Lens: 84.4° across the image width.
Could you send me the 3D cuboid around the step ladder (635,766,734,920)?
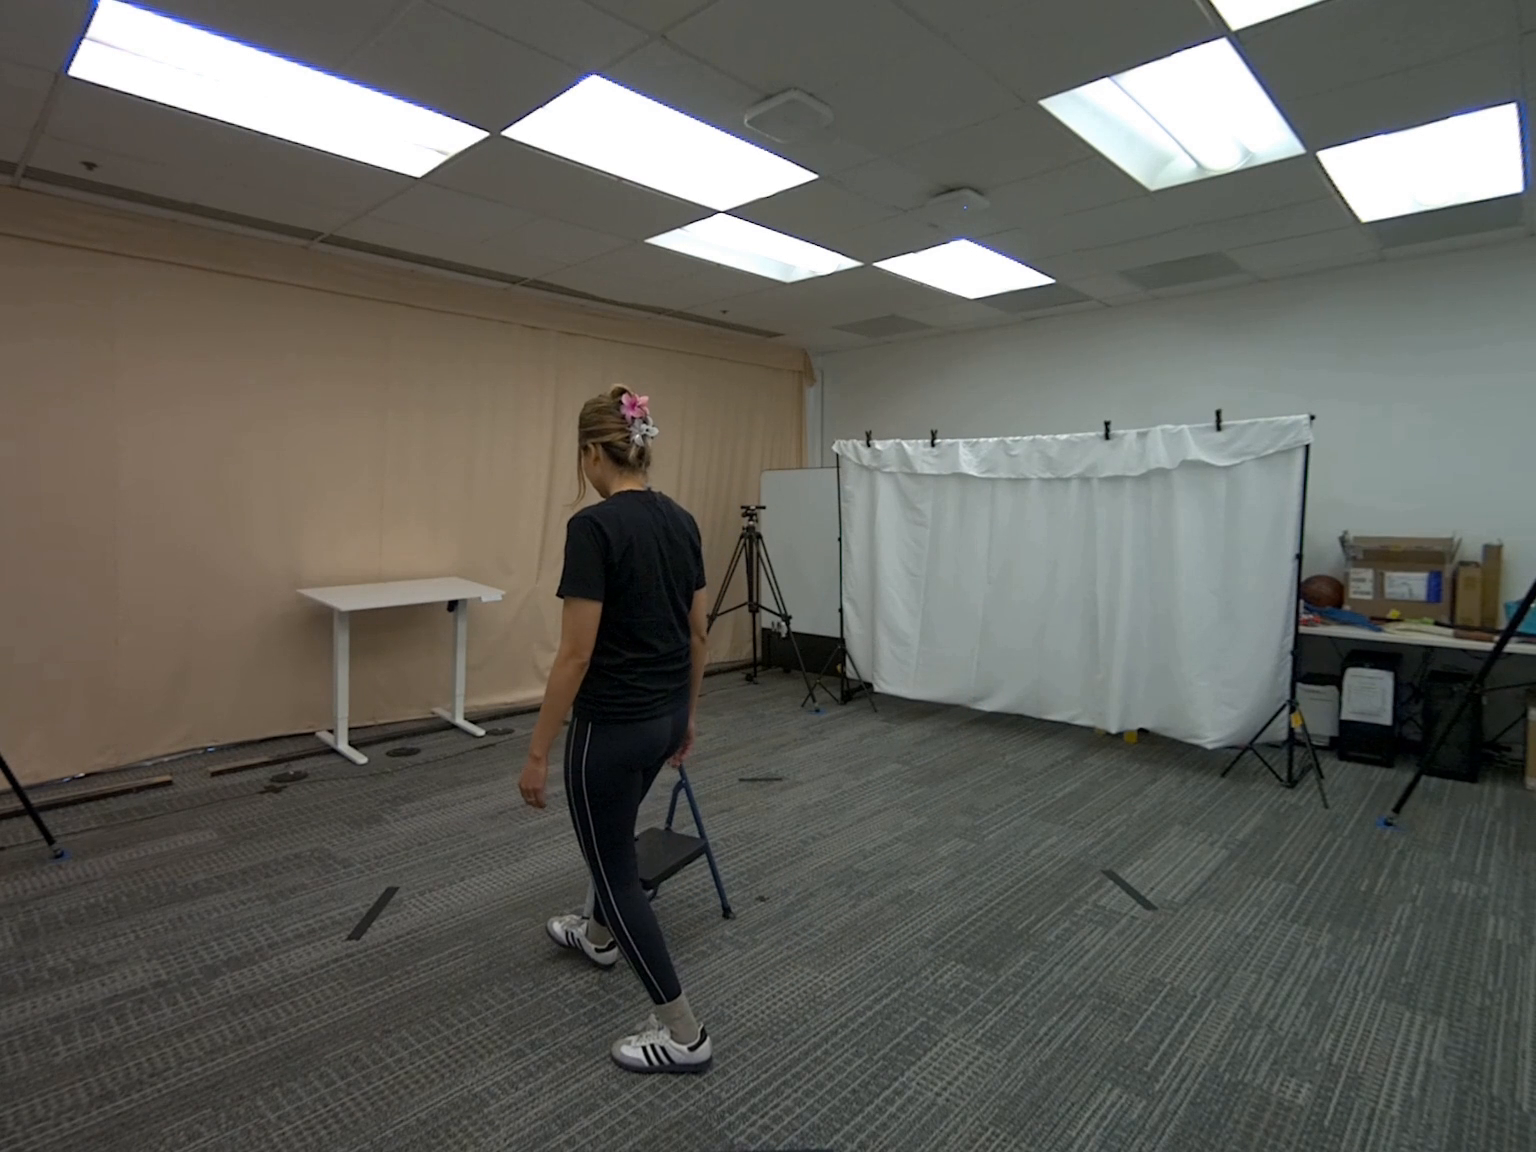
[{"bbox_3d":[-0.359,0.863,2.743,0.359,0.605,0.420,2,4,28],"label":"step ladder"}]
